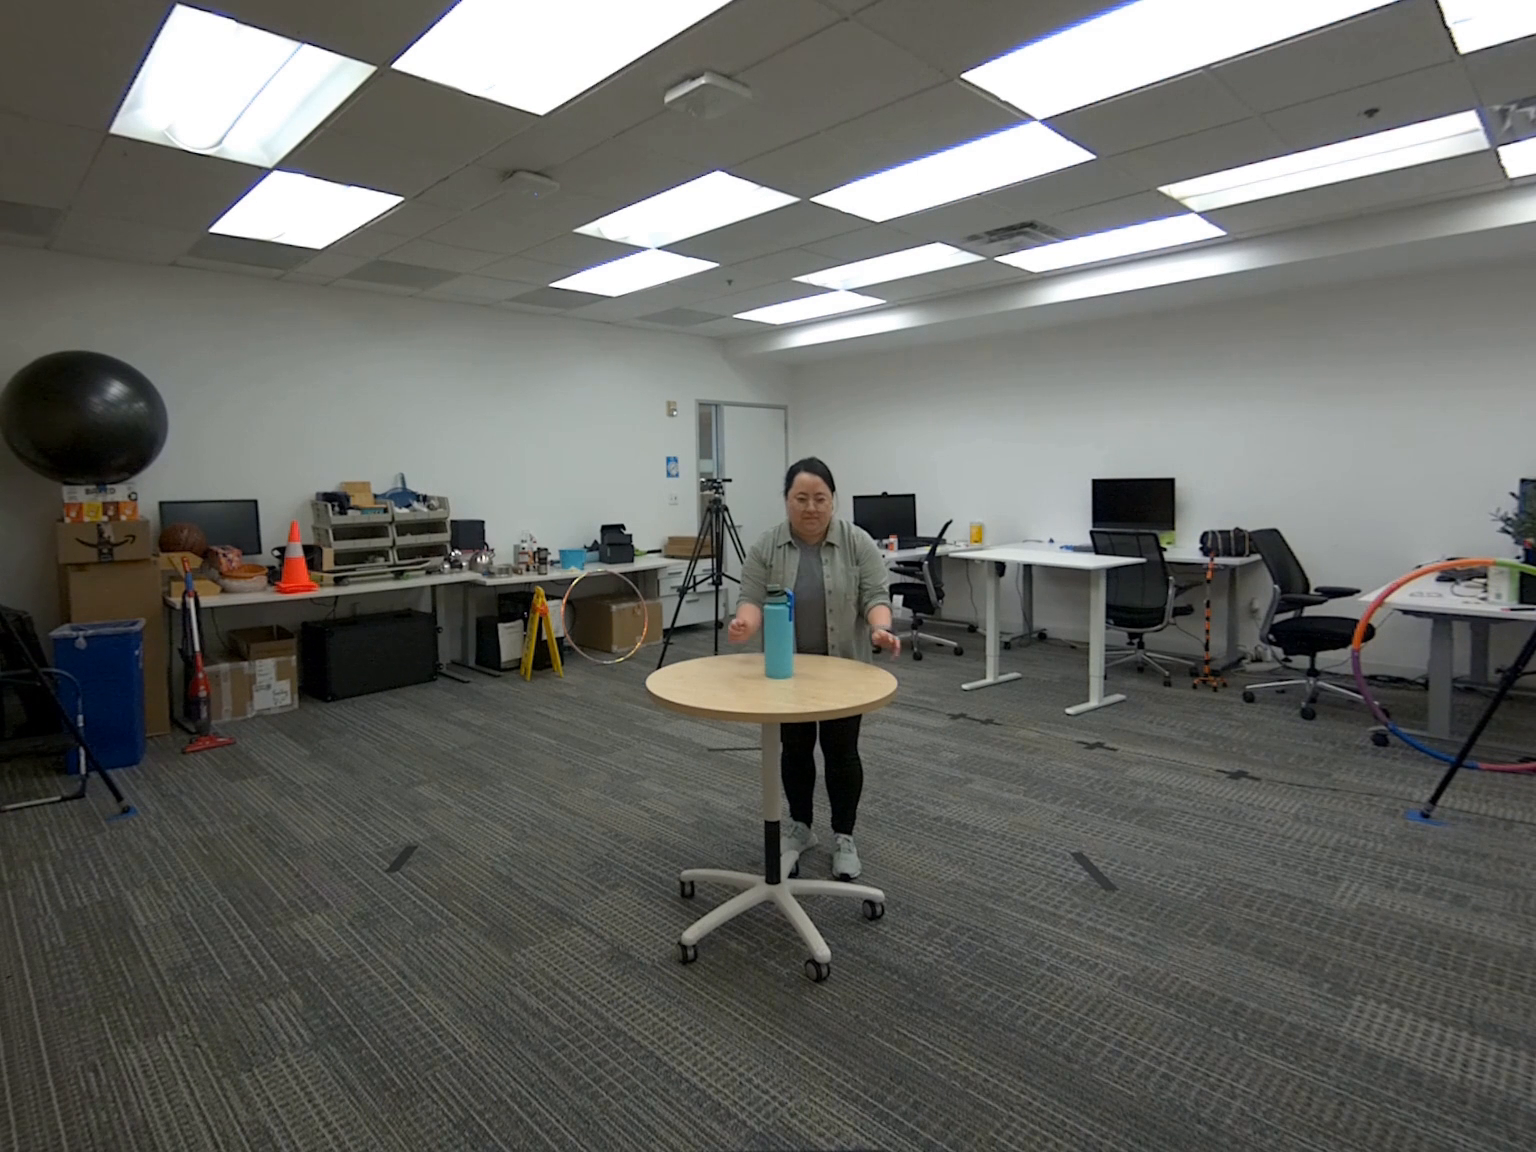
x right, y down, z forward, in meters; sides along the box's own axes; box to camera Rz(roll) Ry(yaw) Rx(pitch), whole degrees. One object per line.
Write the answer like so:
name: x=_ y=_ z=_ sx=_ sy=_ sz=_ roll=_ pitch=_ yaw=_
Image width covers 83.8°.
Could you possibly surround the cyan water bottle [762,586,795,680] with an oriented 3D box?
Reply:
cyan water bottle: x=0.035 y=0.174 z=2.654 sx=0.092 sy=0.283 sz=0.092 roll=0 pitch=3 yaw=-2
